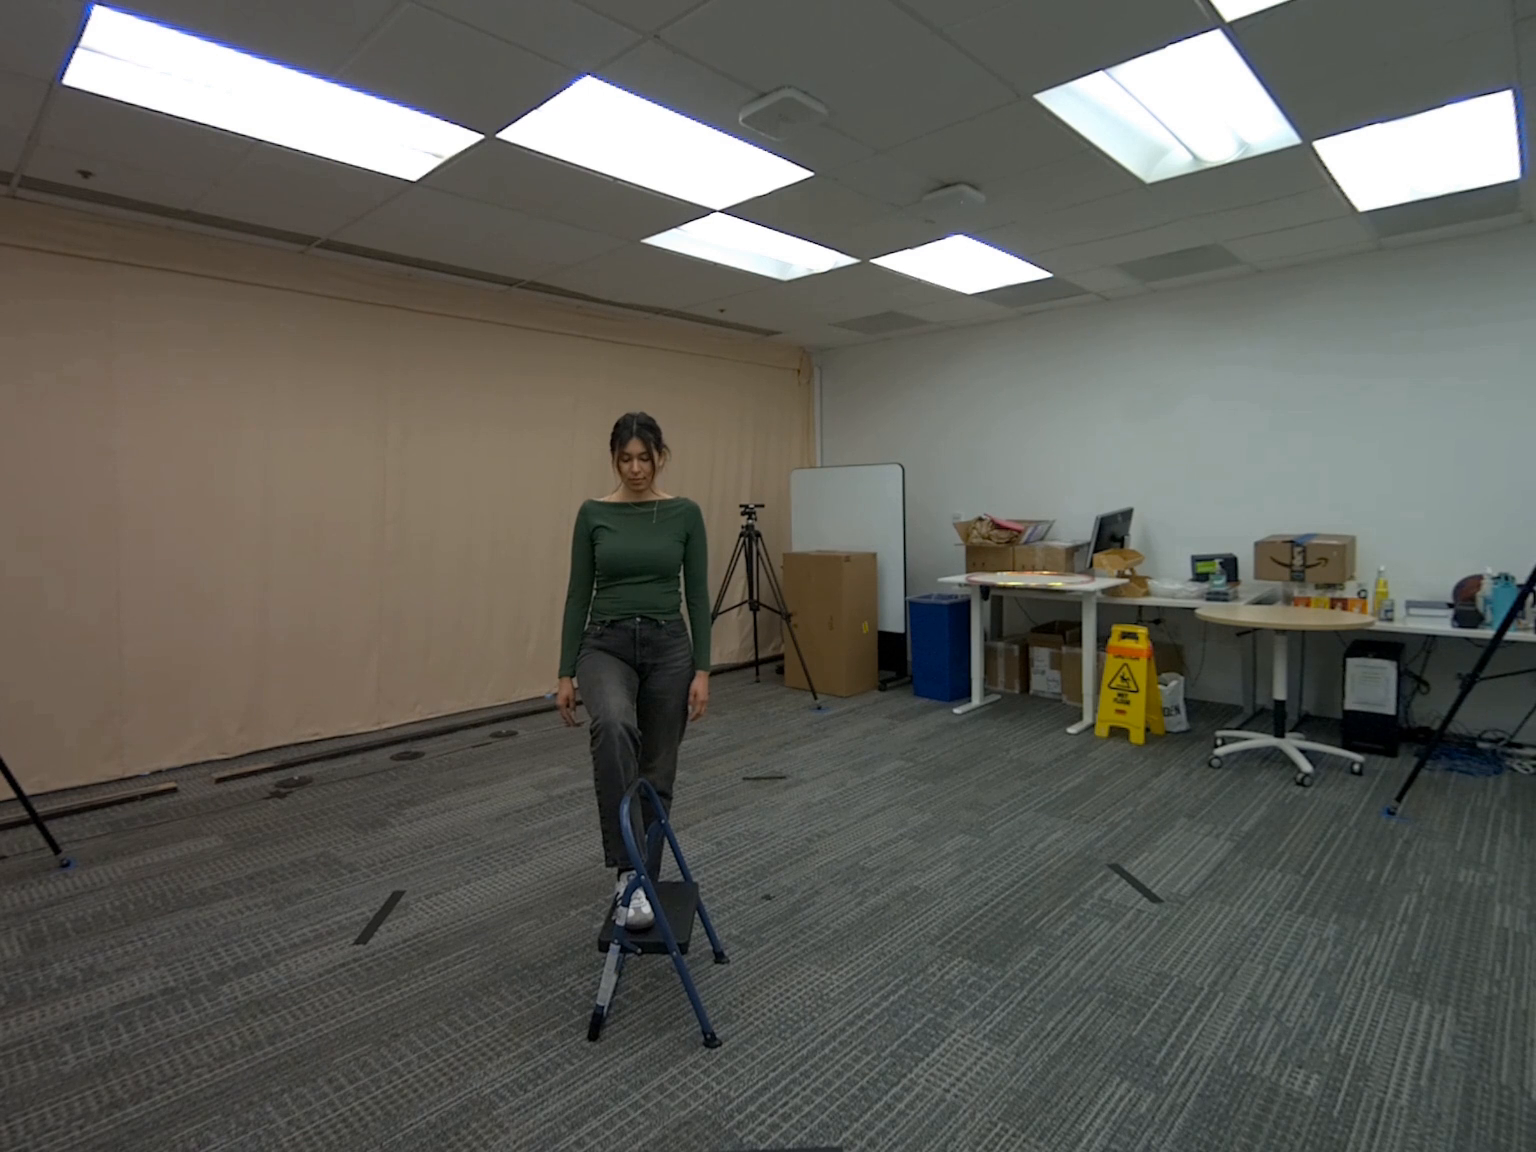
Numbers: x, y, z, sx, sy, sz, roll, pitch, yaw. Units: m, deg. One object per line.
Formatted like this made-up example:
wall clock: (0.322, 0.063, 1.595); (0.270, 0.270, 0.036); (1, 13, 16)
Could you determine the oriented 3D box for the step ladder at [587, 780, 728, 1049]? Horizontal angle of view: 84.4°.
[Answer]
step ladder: (-0.297, 0.902, 2.367); (0.350, 0.605, 0.431); (0, 4, 1)
